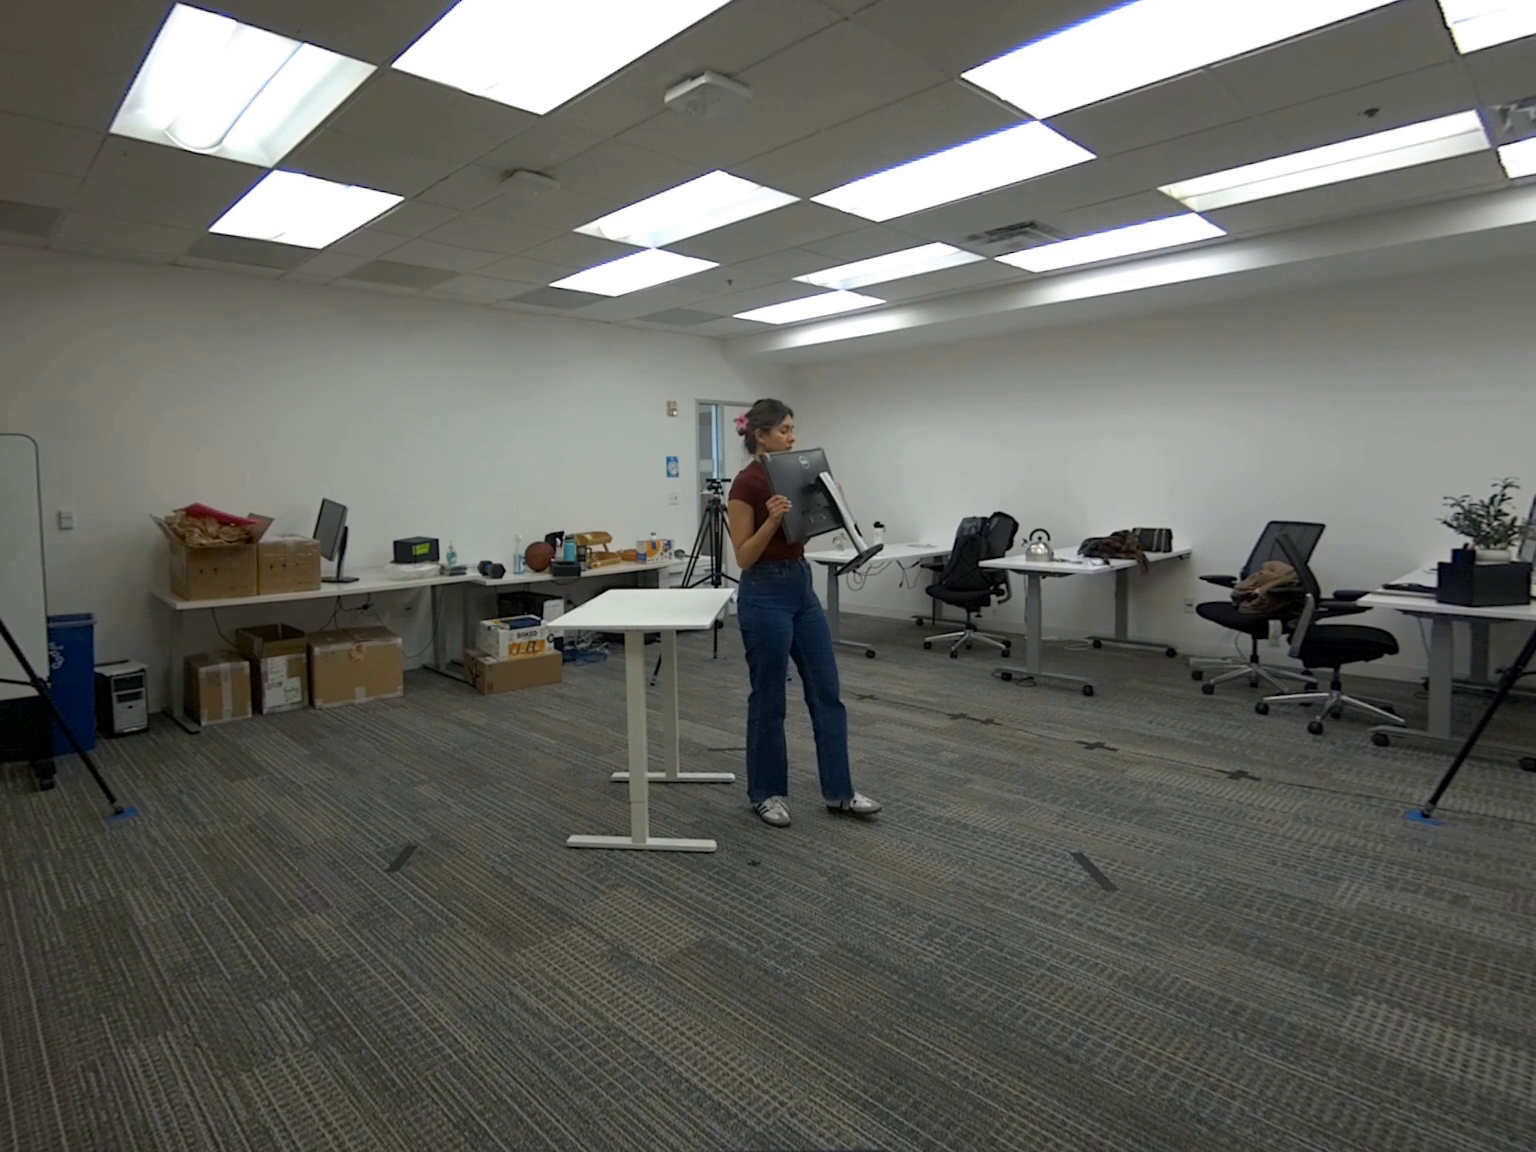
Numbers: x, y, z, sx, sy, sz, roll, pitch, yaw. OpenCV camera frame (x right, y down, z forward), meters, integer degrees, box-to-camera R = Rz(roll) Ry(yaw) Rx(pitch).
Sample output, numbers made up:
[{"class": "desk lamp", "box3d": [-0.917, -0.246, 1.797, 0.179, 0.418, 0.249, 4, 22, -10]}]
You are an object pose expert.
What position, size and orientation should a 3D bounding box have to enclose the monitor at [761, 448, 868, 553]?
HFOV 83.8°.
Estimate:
[{"class": "monitor", "box3d": [0.226, -0.267, 3.337, 0.188, 0.529, 0.529, -36, -10, 27]}]
